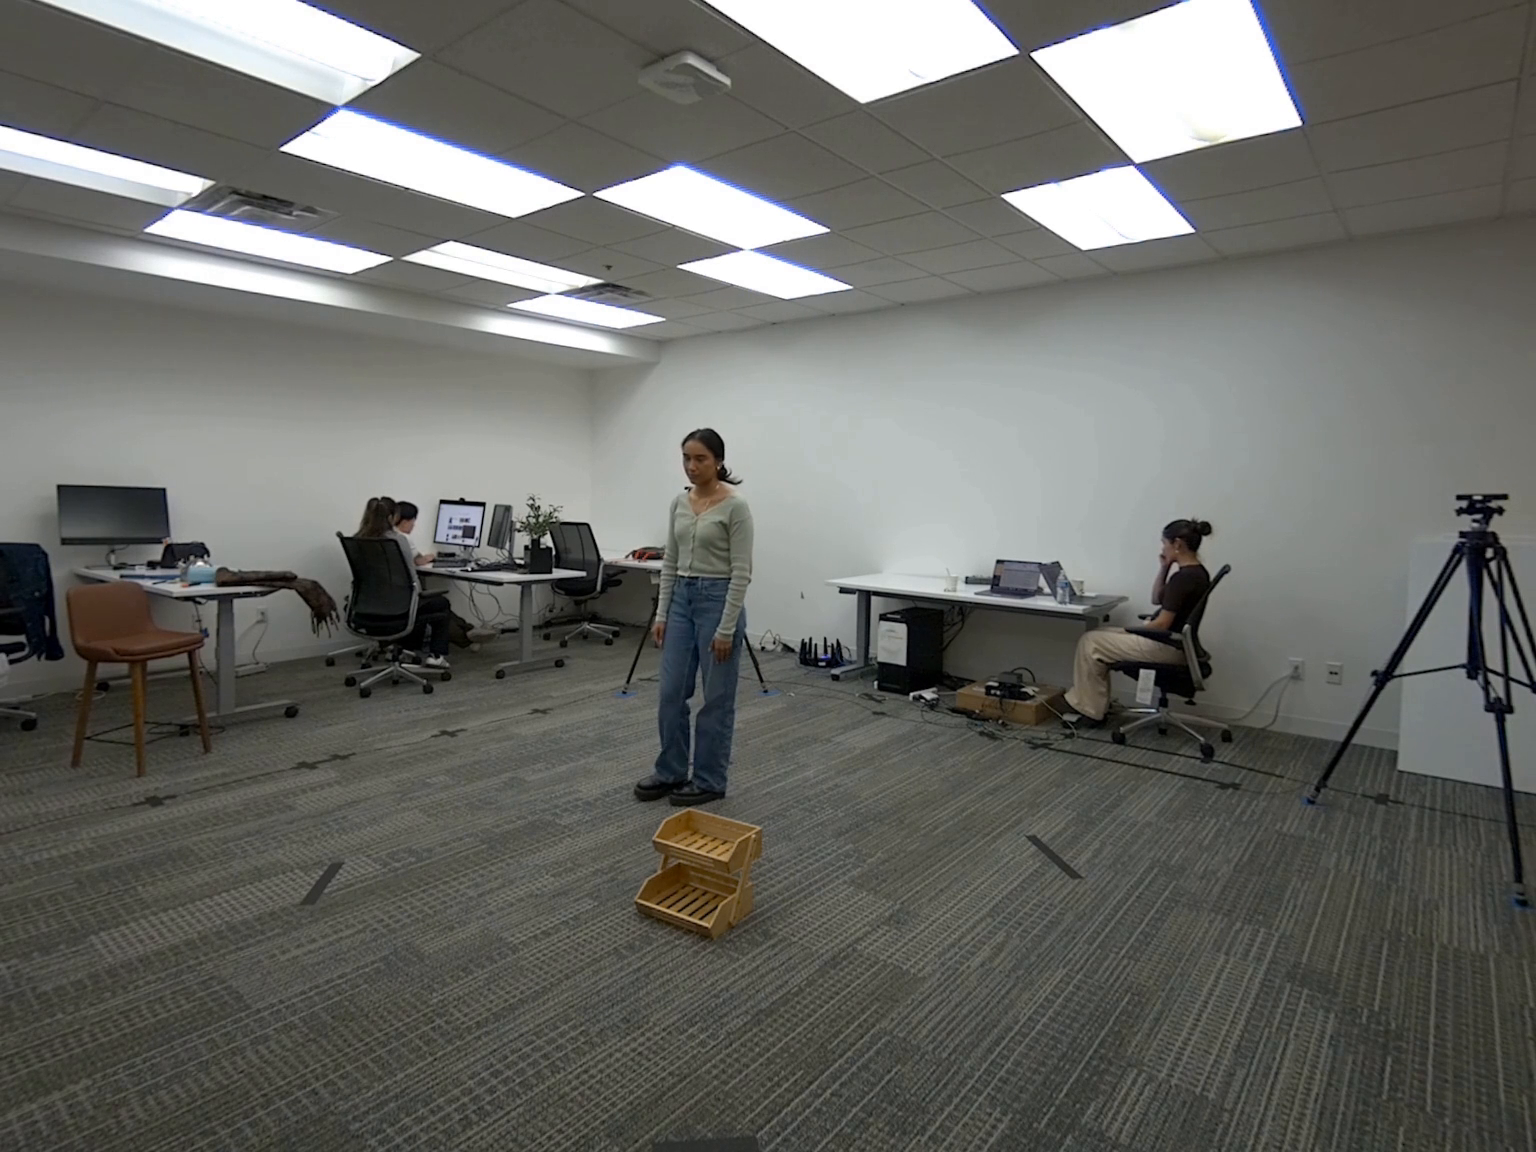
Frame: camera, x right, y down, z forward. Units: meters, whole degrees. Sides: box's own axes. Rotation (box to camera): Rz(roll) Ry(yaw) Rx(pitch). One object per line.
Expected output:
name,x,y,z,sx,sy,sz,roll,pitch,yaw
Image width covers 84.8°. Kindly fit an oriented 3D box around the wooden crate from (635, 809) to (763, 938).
wooden crate,-0.236,0.959,2.795,0.334,0.273,0.294,3,4,31
